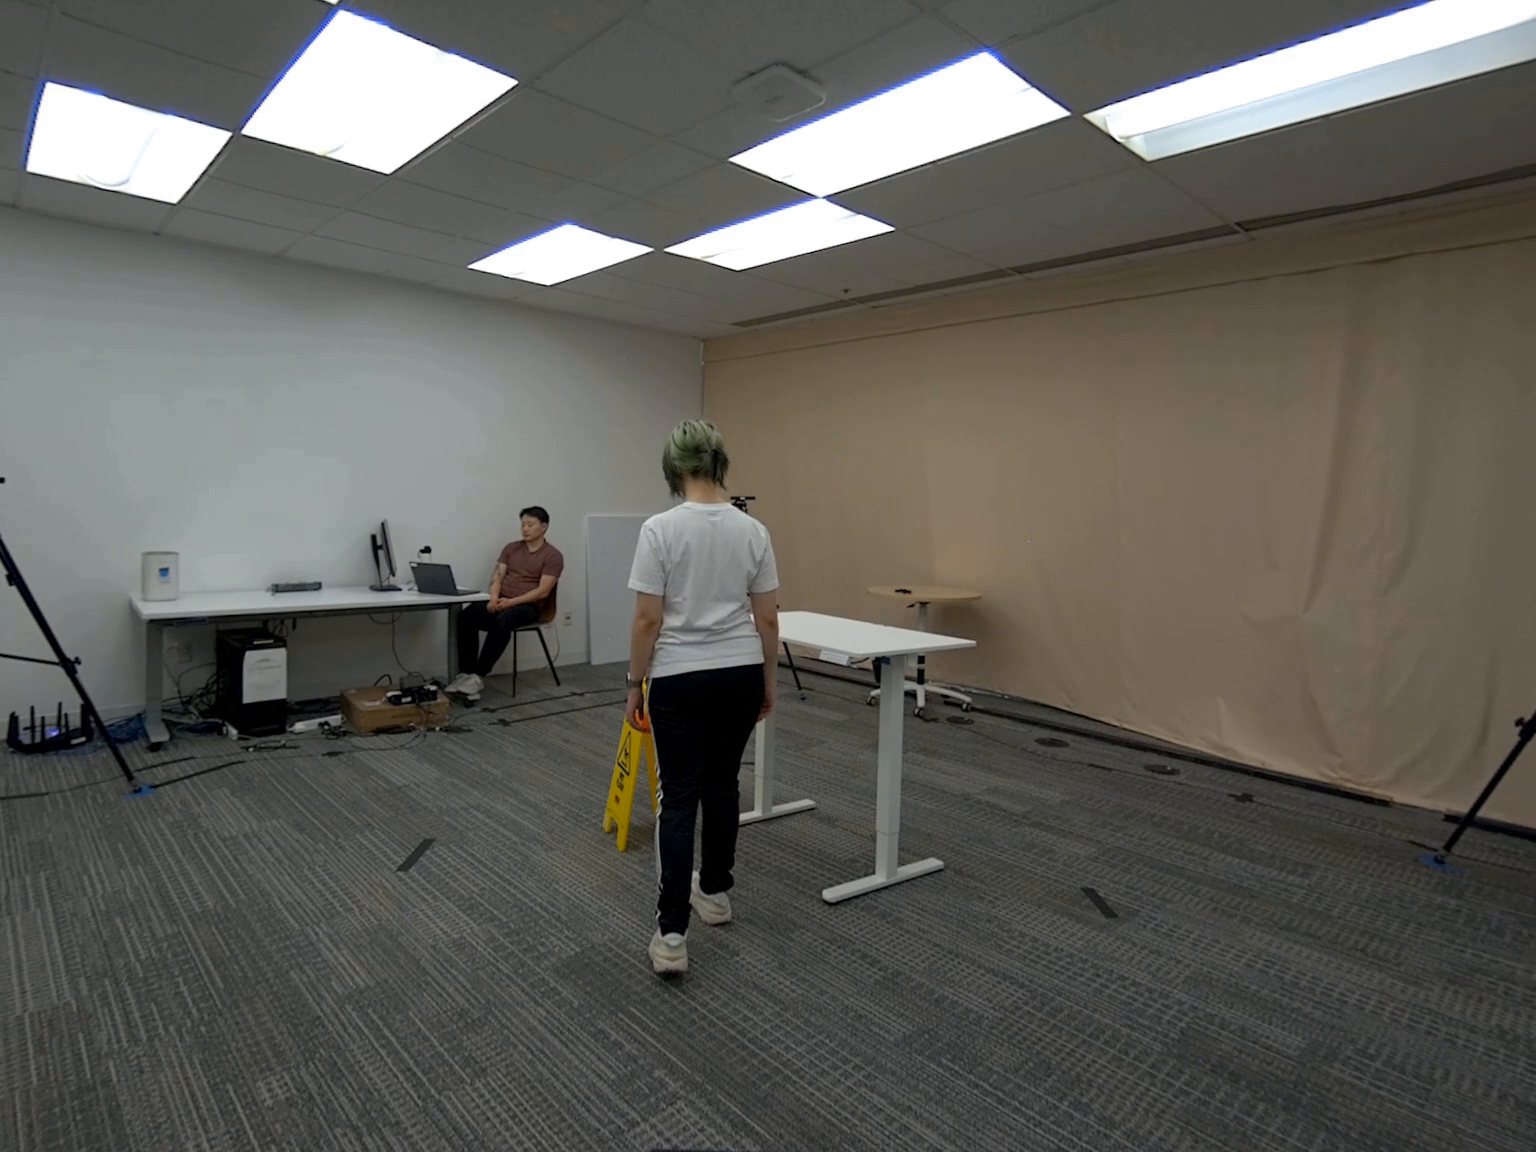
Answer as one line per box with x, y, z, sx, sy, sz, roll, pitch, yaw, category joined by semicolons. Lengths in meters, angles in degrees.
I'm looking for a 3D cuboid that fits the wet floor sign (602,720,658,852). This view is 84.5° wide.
-0.523;0.744;3.441;0.285;0.645;0.287;-1;3;-24;wet floor sign
